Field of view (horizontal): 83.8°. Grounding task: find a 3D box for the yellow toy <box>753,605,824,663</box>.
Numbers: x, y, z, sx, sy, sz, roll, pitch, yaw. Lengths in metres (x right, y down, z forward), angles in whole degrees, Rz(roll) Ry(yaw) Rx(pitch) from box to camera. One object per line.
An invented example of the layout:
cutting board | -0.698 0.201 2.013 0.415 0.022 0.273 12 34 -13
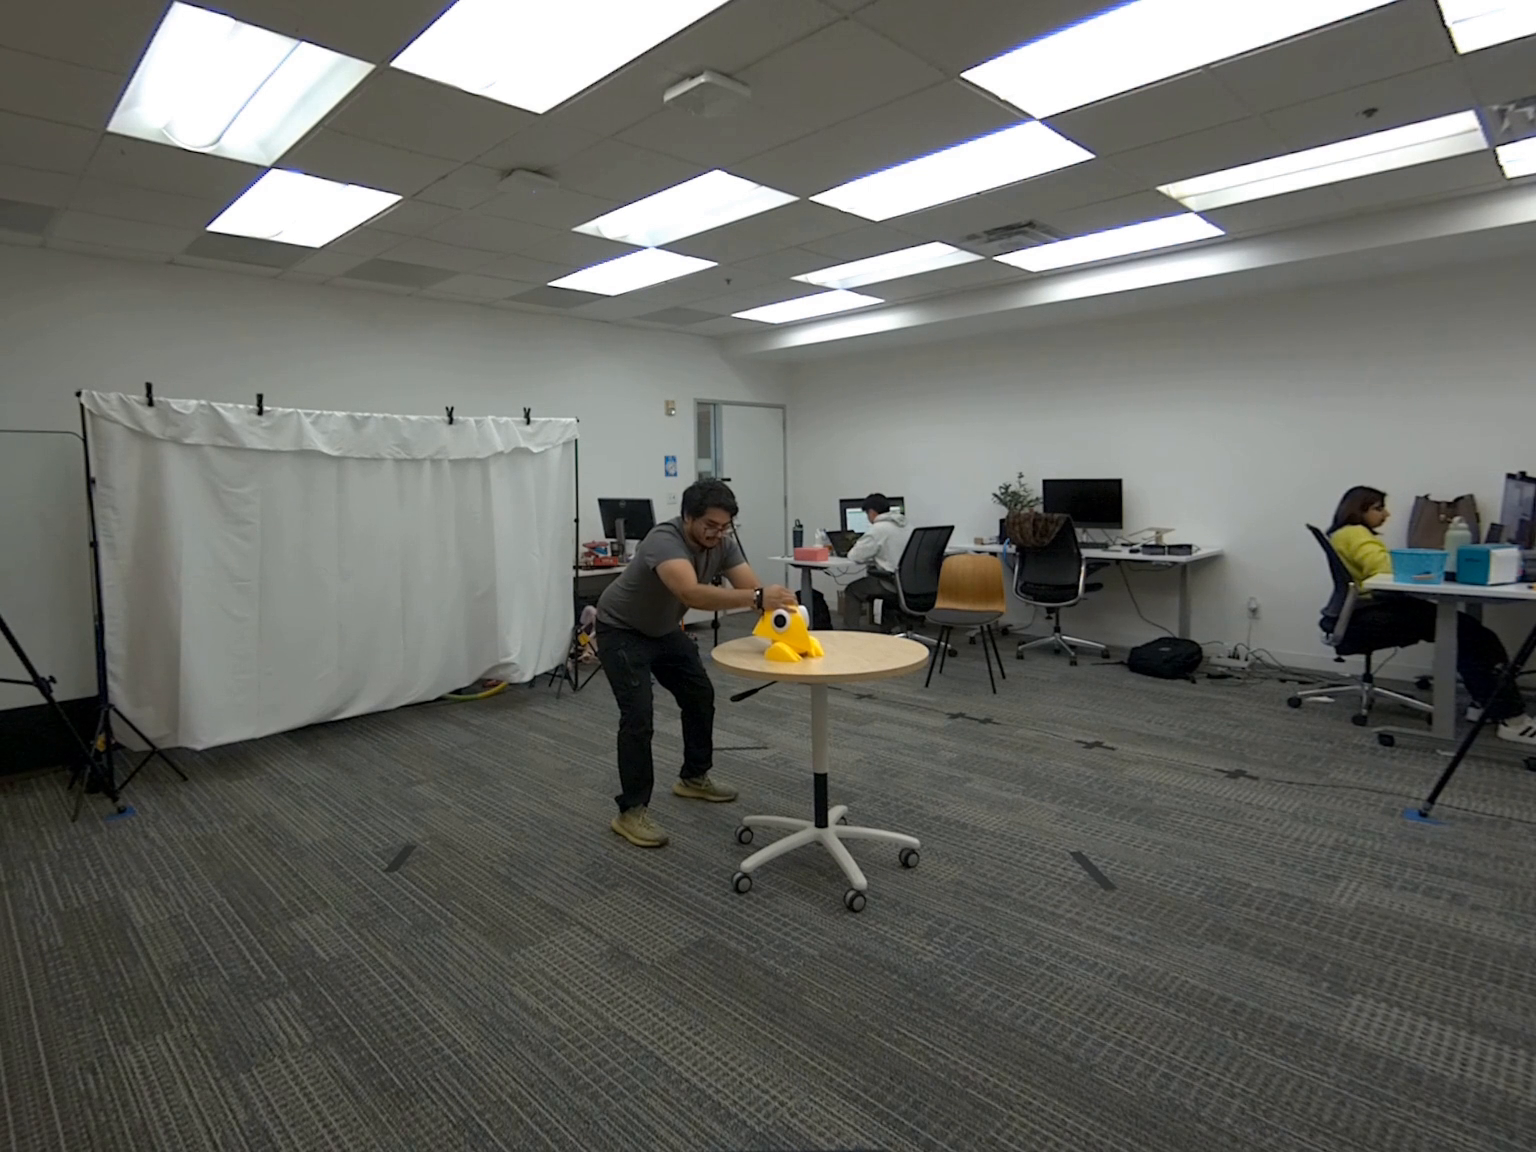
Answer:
yellow toy | 0.085 0.163 2.963 0.199 0.230 0.199 -5 6 -41
